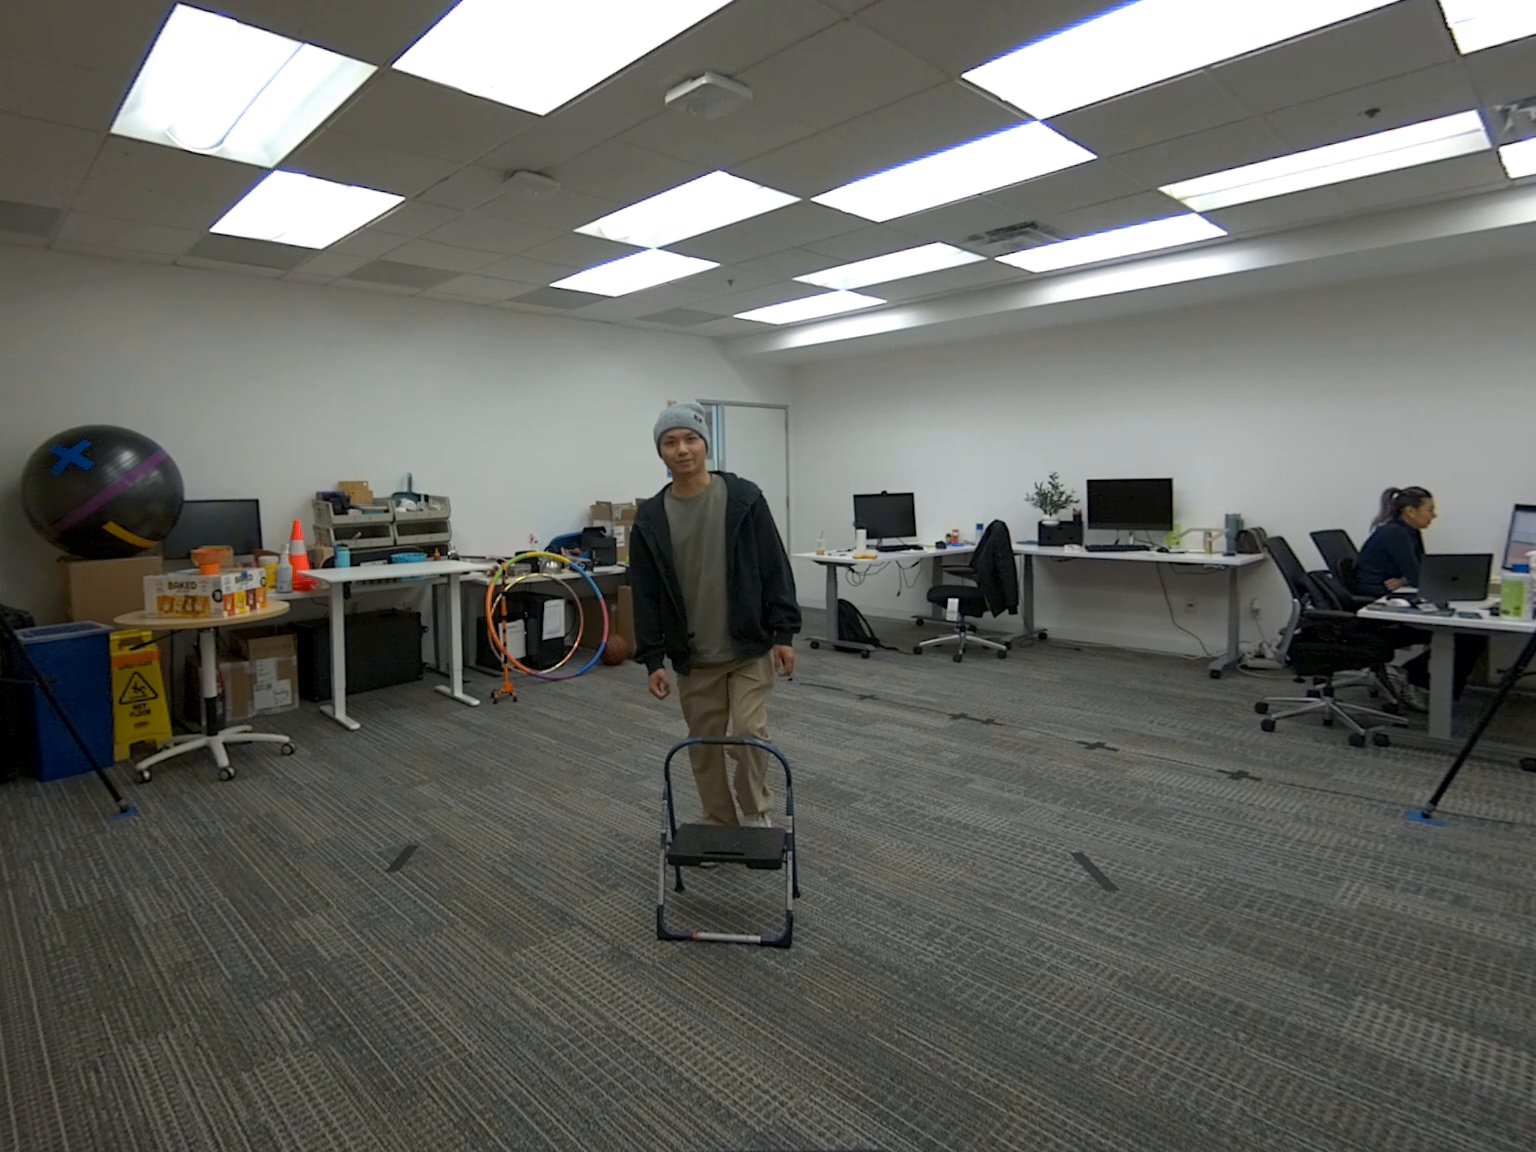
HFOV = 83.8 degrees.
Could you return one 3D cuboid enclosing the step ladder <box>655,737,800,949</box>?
[{"bbox_3d":[-0.122,0.792,2.720,0.434,0.604,0.348,-1,4,6],"label":"step ladder"}]
